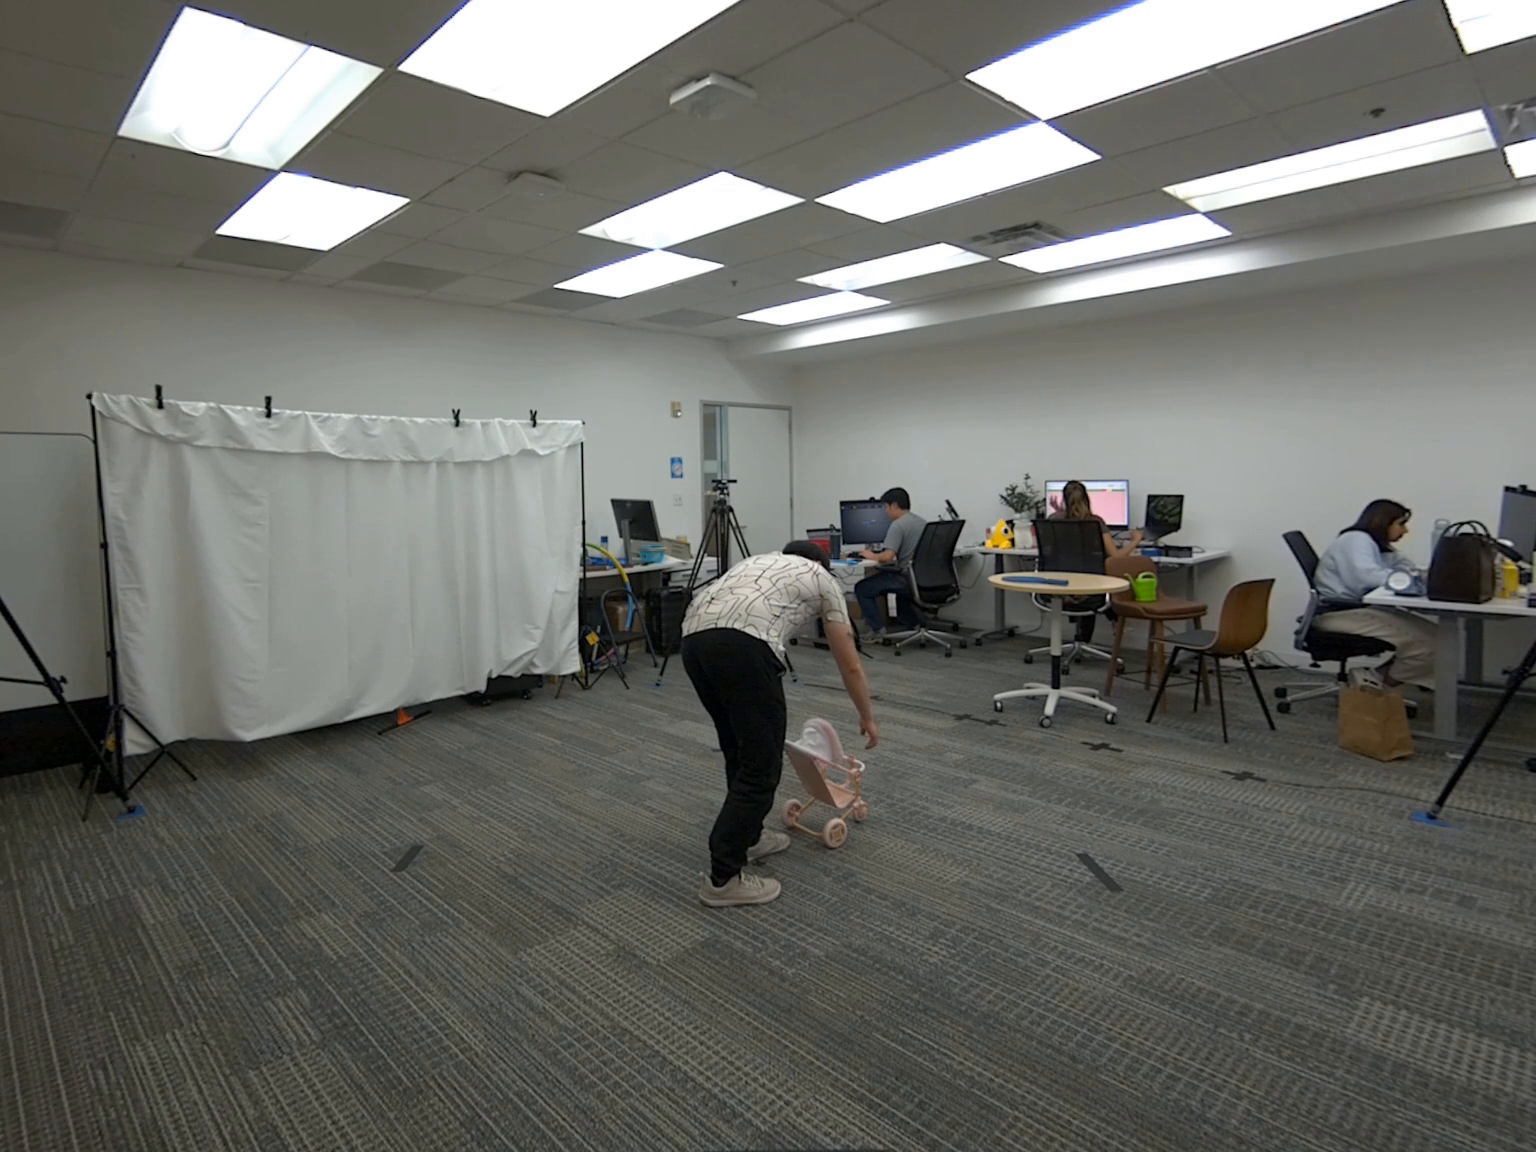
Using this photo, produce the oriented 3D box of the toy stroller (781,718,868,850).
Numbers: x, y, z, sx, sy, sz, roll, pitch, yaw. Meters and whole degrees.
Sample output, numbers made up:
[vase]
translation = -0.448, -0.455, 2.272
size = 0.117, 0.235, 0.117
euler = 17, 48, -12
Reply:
[toy stroller]
translation = 0.222, 0.790, 3.362
size = 0.336, 0.527, 0.289
euler = -23, 15, -30
